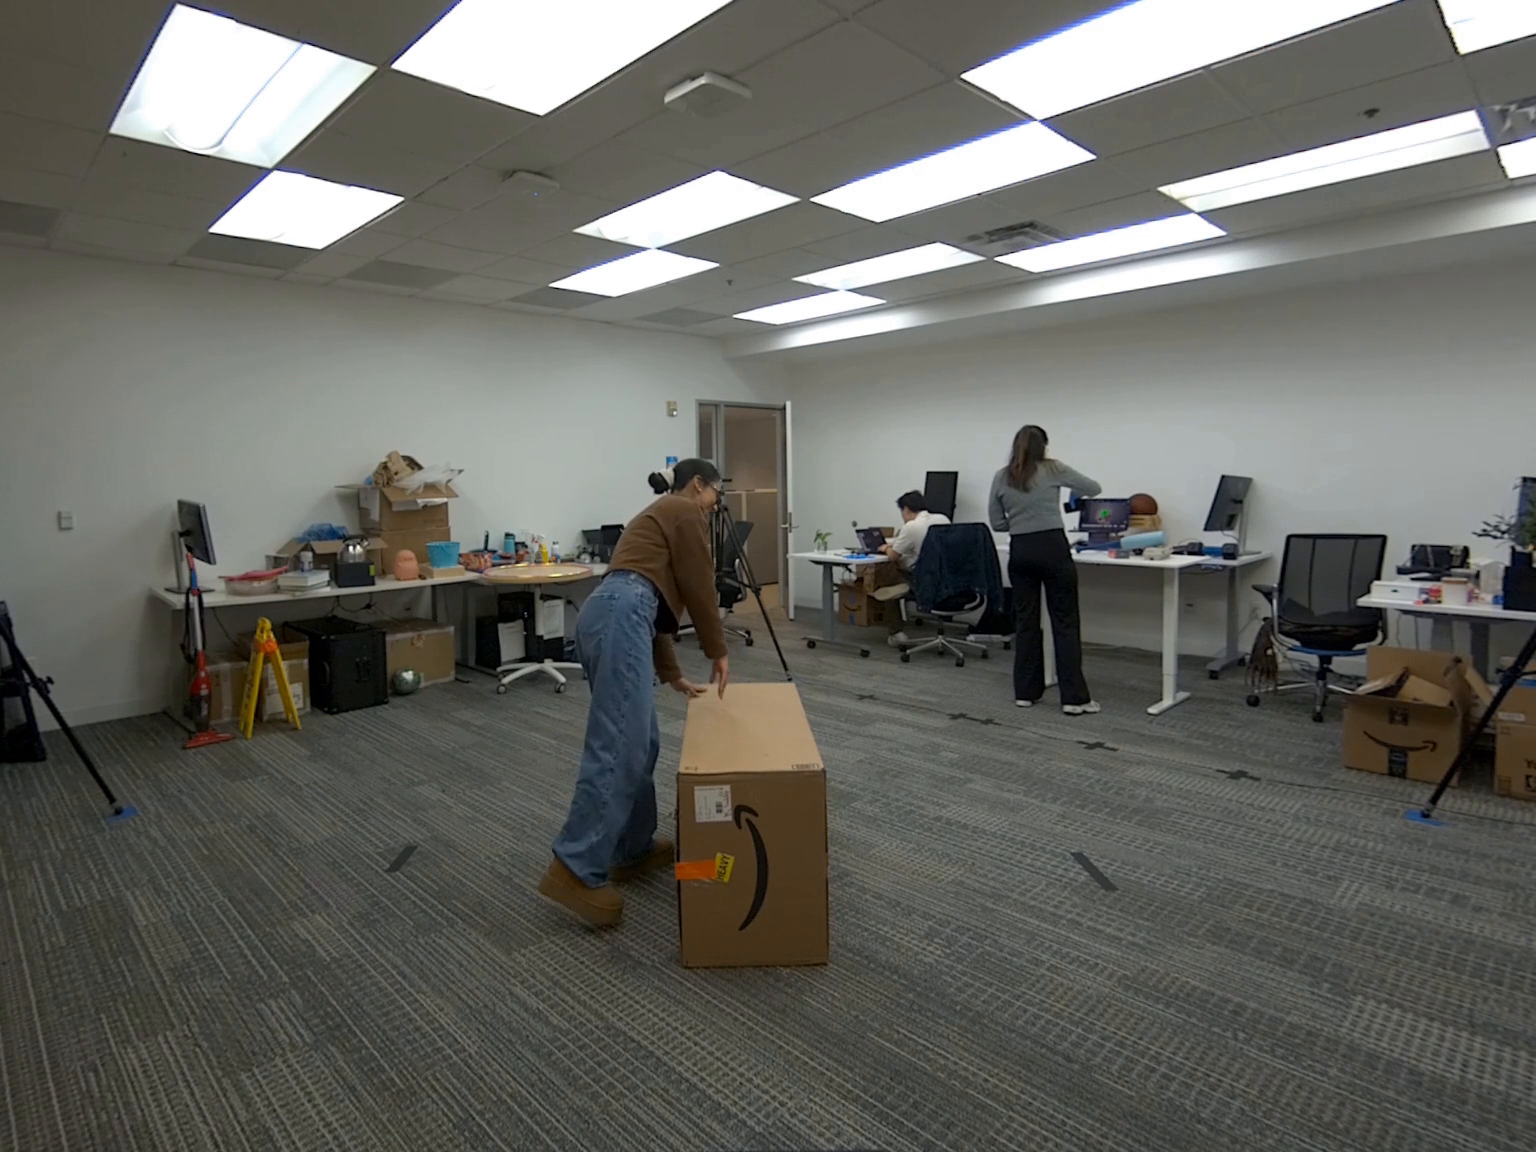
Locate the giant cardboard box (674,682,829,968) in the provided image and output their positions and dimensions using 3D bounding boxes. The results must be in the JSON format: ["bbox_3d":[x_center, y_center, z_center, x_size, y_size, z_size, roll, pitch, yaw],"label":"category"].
[{"bbox_3d":[-0.067,0.778,2.938,0.446,0.581,1.032,0,5,-2],"label":"giant cardboard box"}]
